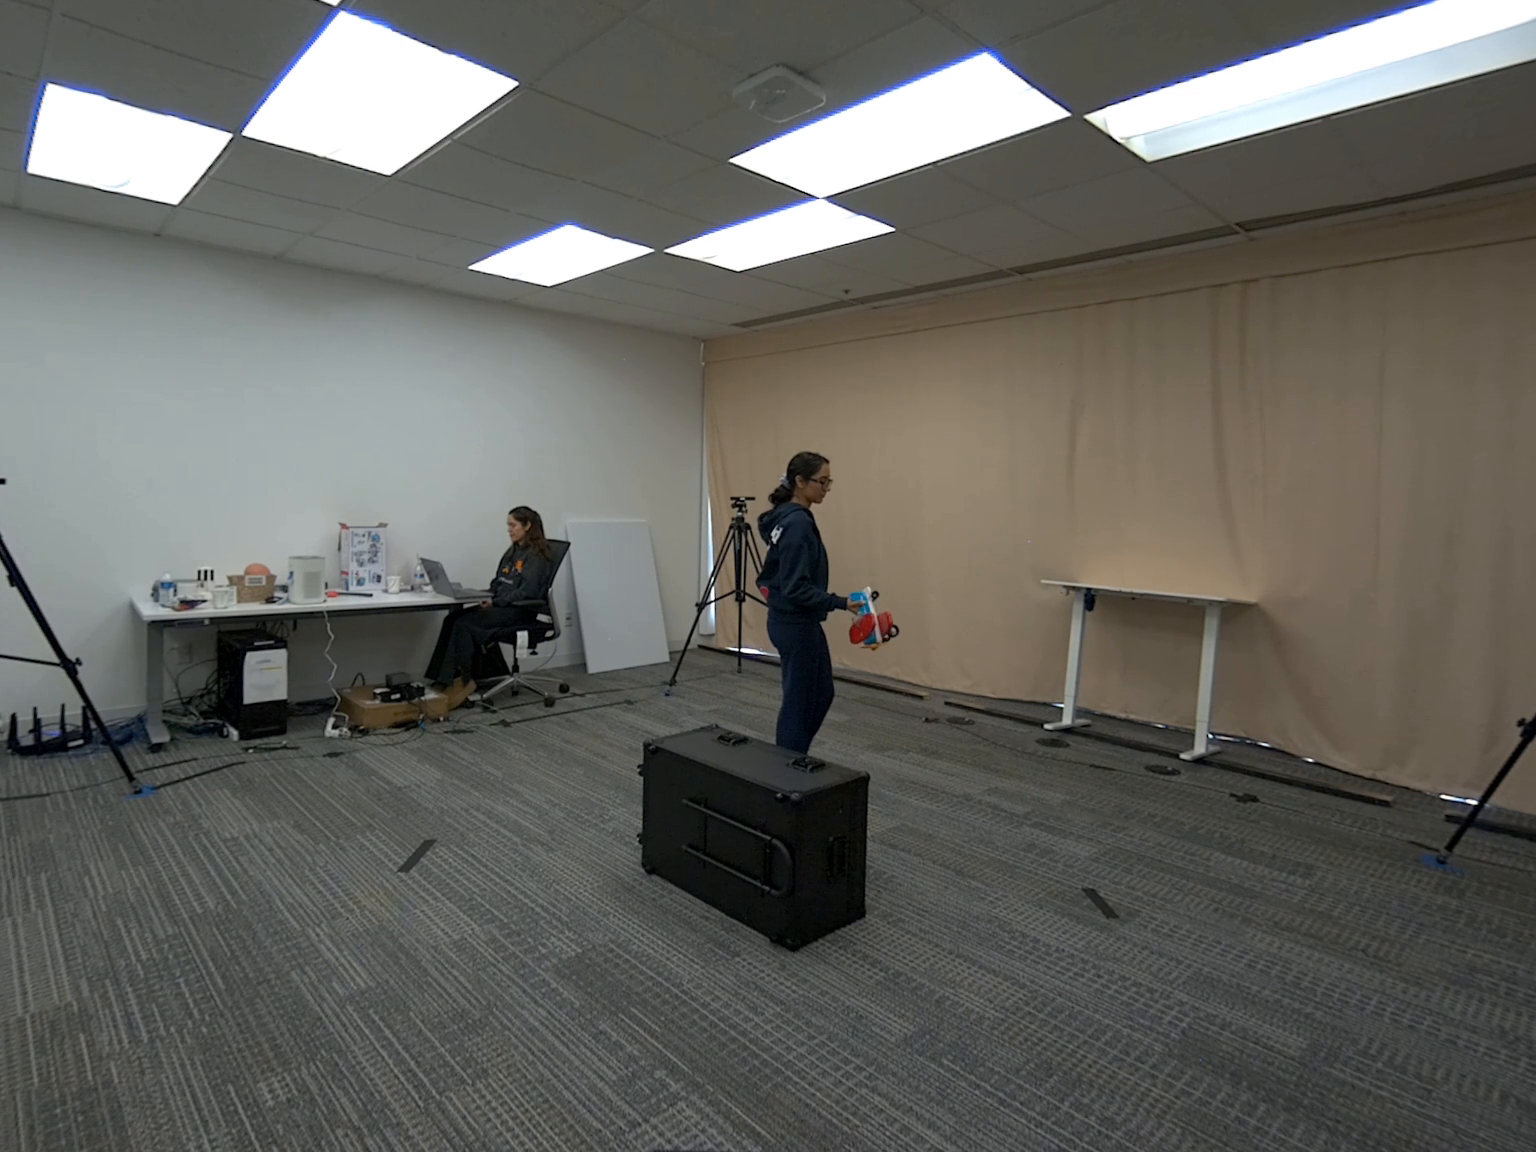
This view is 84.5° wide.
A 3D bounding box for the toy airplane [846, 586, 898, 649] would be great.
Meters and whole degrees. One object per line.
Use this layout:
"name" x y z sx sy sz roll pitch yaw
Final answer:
"toy airplane" 0.420 0.187 3.656 0.154 0.246 0.267 -16 44 -24
